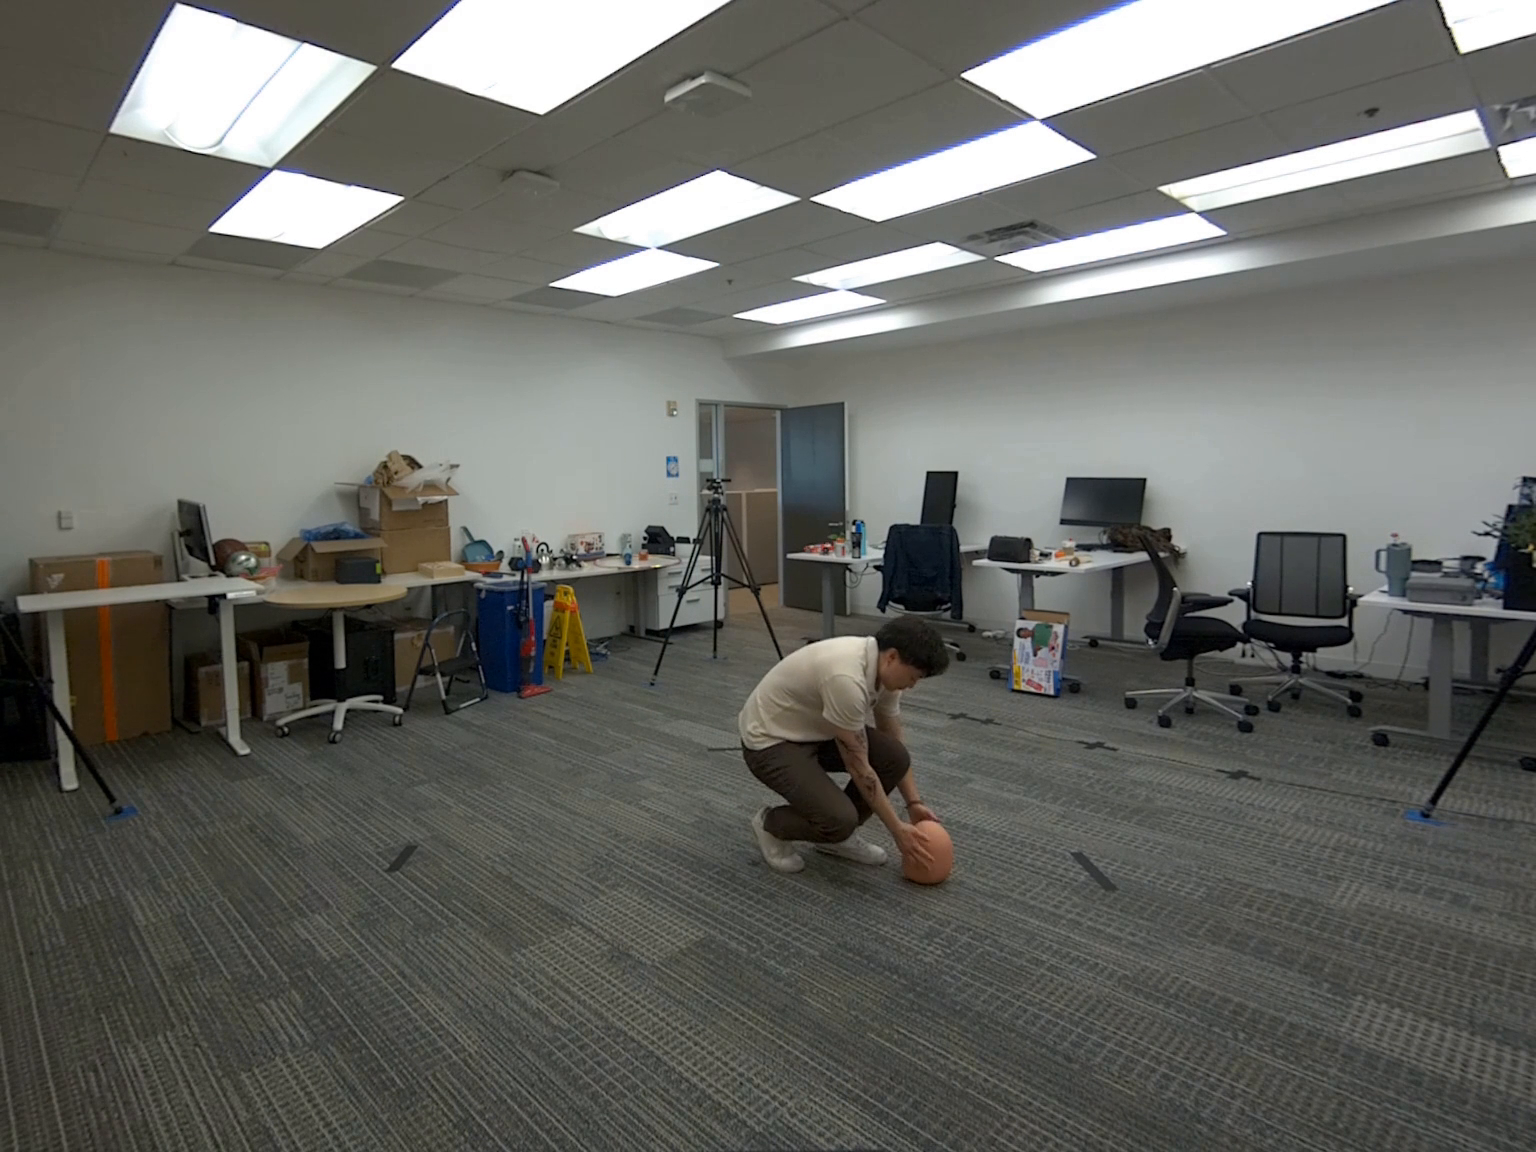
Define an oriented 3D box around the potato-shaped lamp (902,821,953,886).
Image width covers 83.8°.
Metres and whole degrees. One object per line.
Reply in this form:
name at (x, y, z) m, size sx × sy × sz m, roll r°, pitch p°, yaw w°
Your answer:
potato-shaped lamp at (0.552, 0.942, 2.958) m, size 0.160 × 0.198 × 0.177 m, roll 3°, pitch 1°, yaw -41°
